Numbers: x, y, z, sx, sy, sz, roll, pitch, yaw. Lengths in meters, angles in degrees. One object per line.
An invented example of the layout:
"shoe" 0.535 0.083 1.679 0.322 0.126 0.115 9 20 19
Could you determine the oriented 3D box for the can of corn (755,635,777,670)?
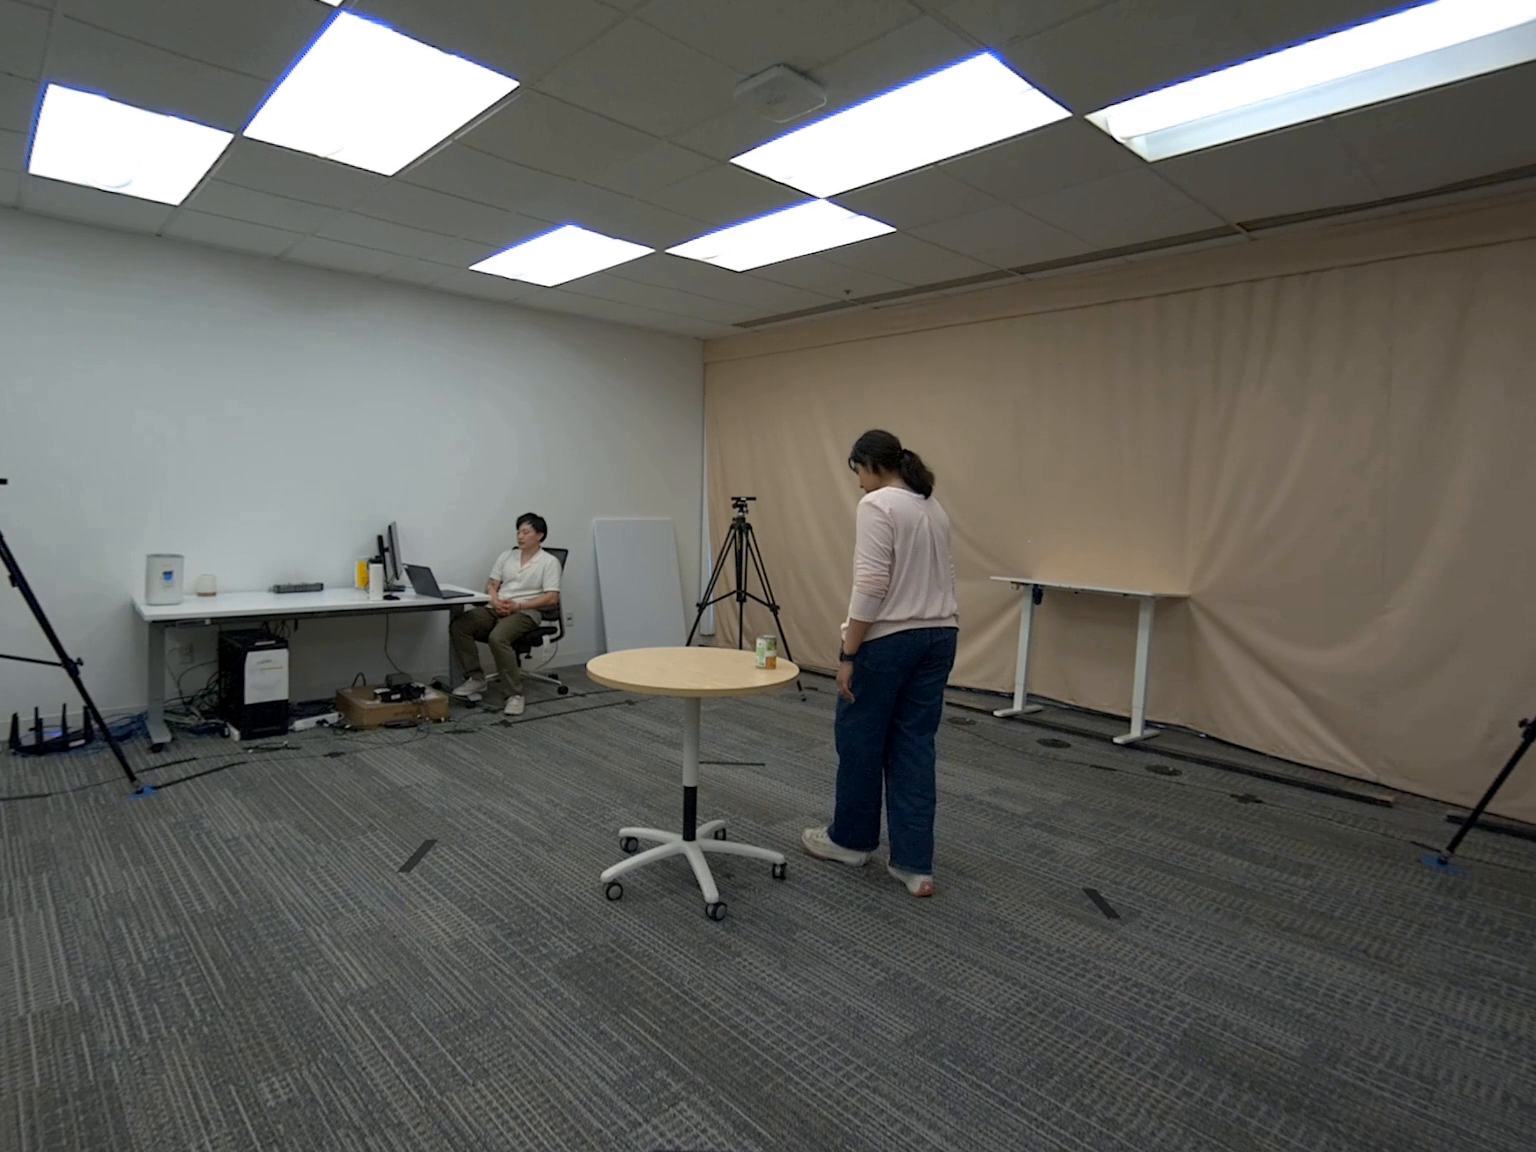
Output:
"can of corn" -0.006 0.283 3.050 0.074 0.111 0.074 4 0 -1
